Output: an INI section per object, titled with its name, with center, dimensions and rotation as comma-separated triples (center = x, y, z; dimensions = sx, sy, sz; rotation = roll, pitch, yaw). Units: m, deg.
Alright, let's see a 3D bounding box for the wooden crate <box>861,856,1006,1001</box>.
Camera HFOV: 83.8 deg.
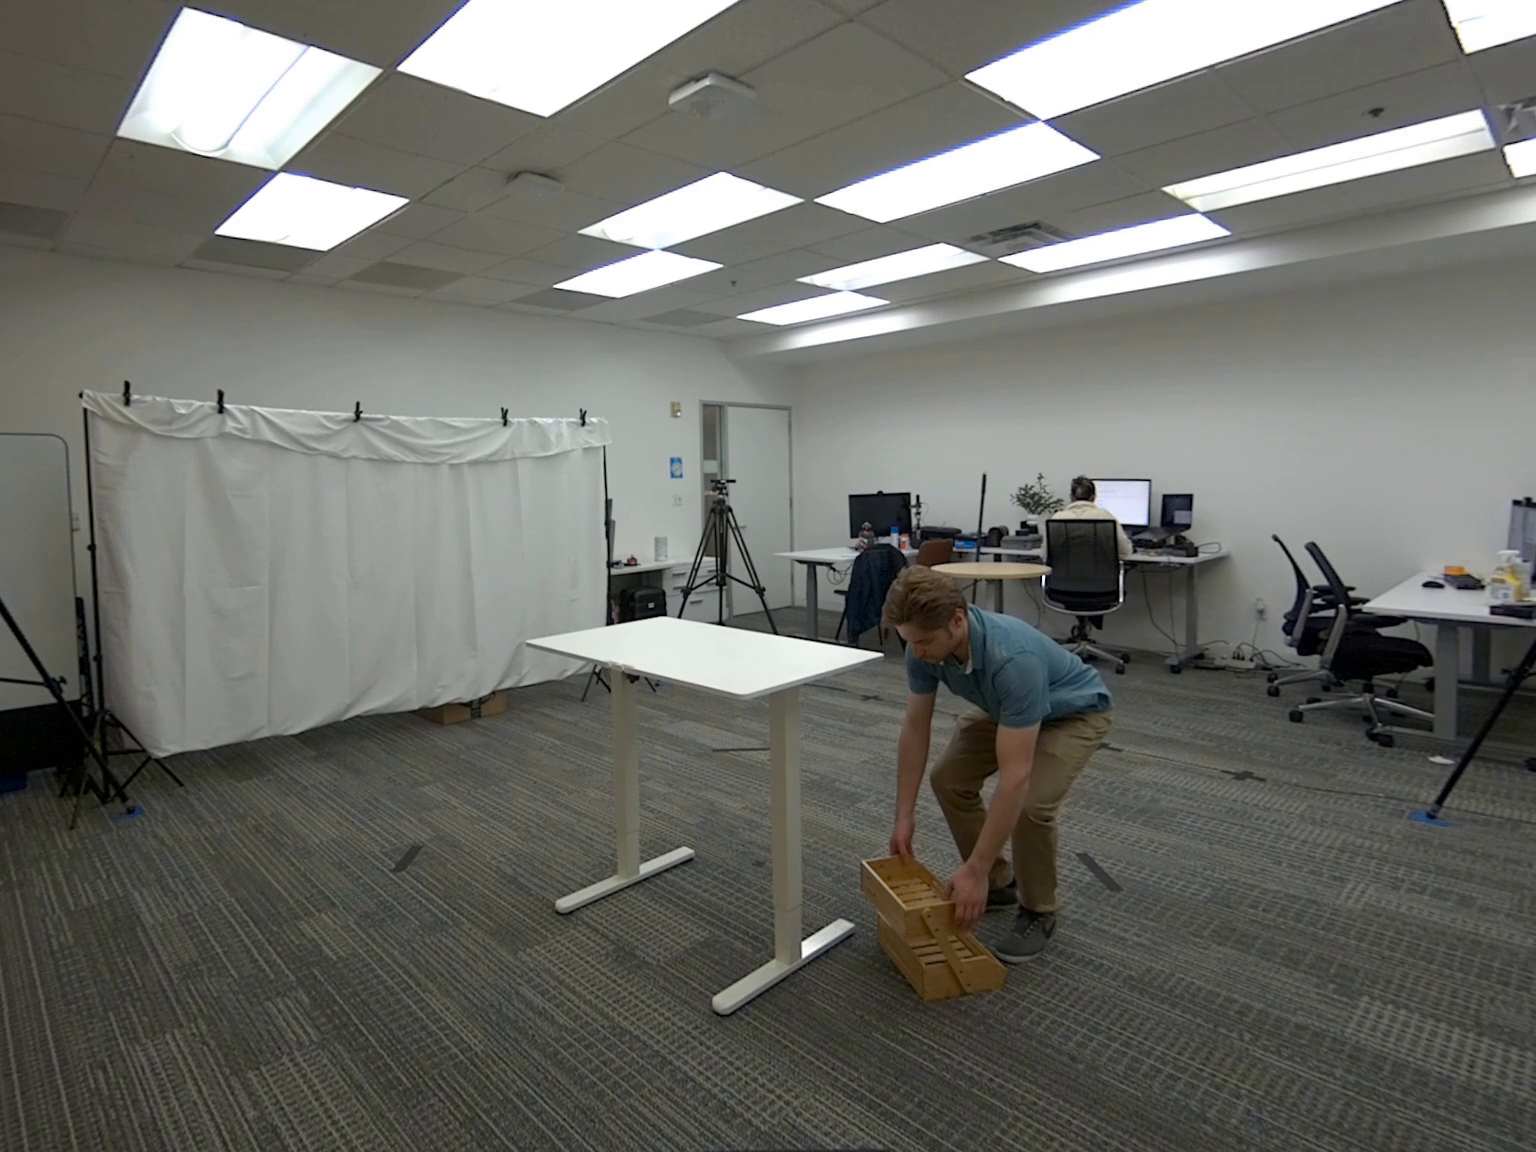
[wooden crate]
center = 0.474, 0.980, 2.435
dimensions = 0.298, 0.272, 0.330
rotation = -3, 6, -15
